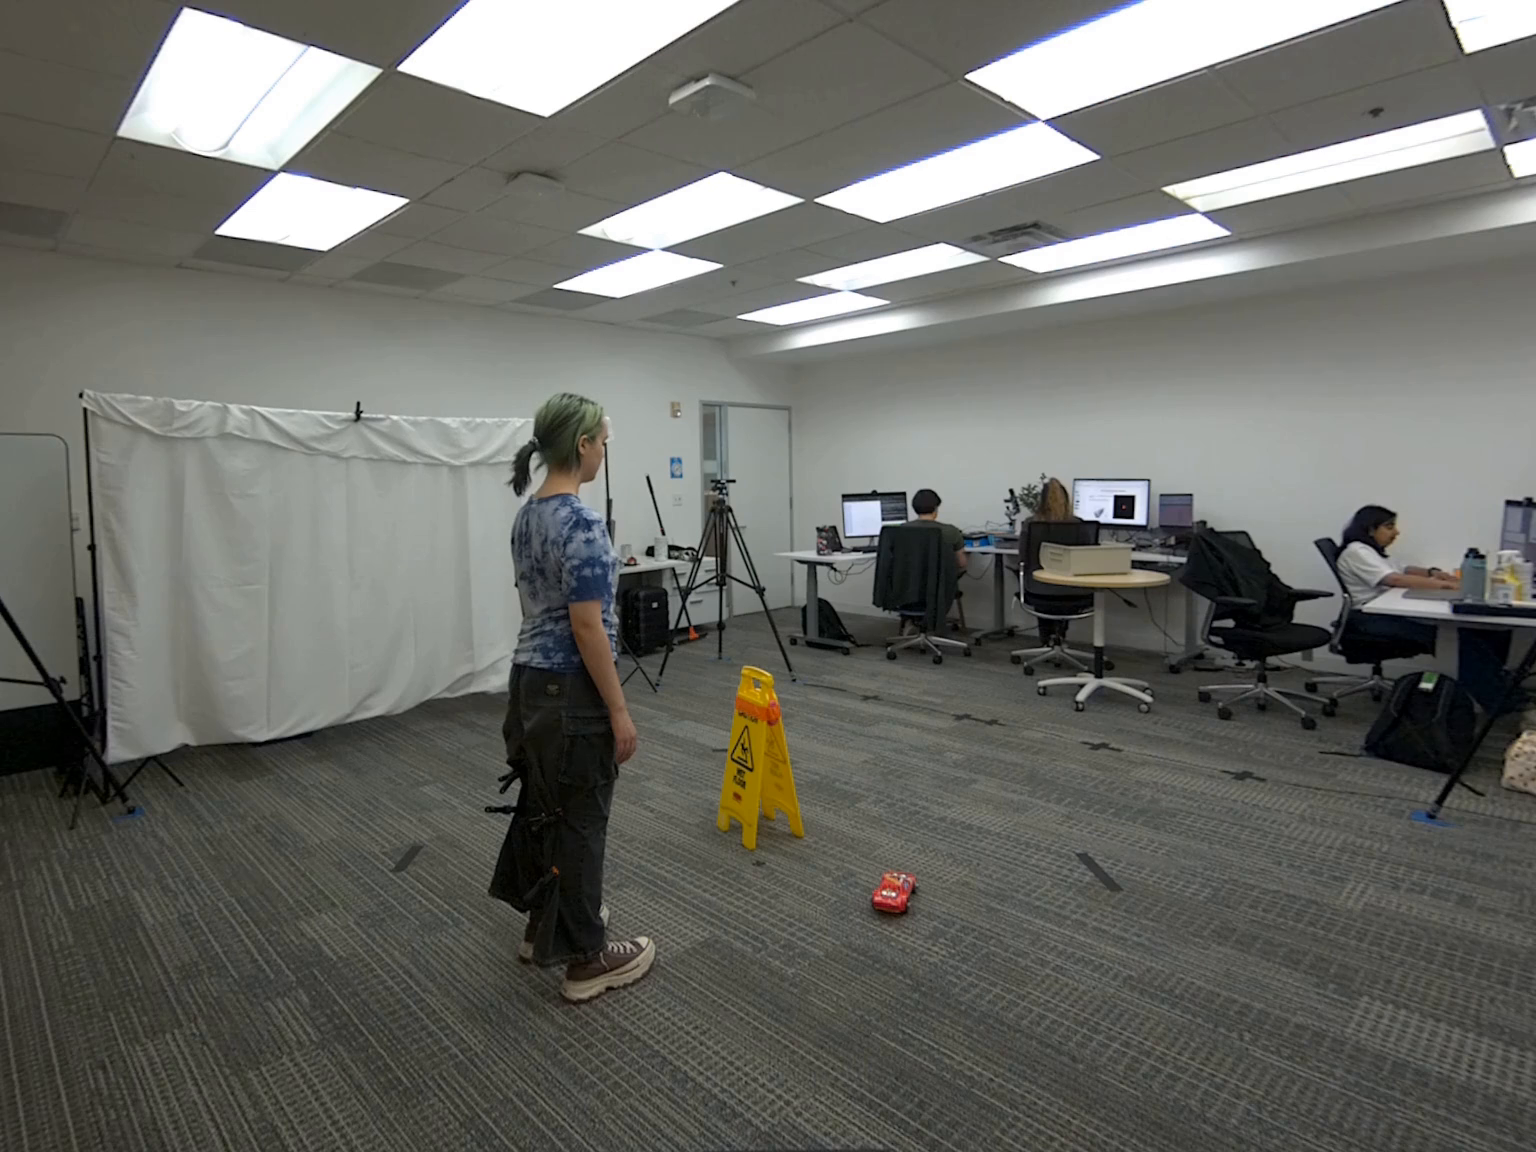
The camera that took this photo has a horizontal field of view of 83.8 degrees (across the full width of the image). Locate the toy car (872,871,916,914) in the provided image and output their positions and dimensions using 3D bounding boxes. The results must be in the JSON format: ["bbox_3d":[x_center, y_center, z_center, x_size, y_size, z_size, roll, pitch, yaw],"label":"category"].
[{"bbox_3d":[0.420,1.043,2.800,0.133,0.083,0.248,2,-4,21],"label":"toy car"}]
